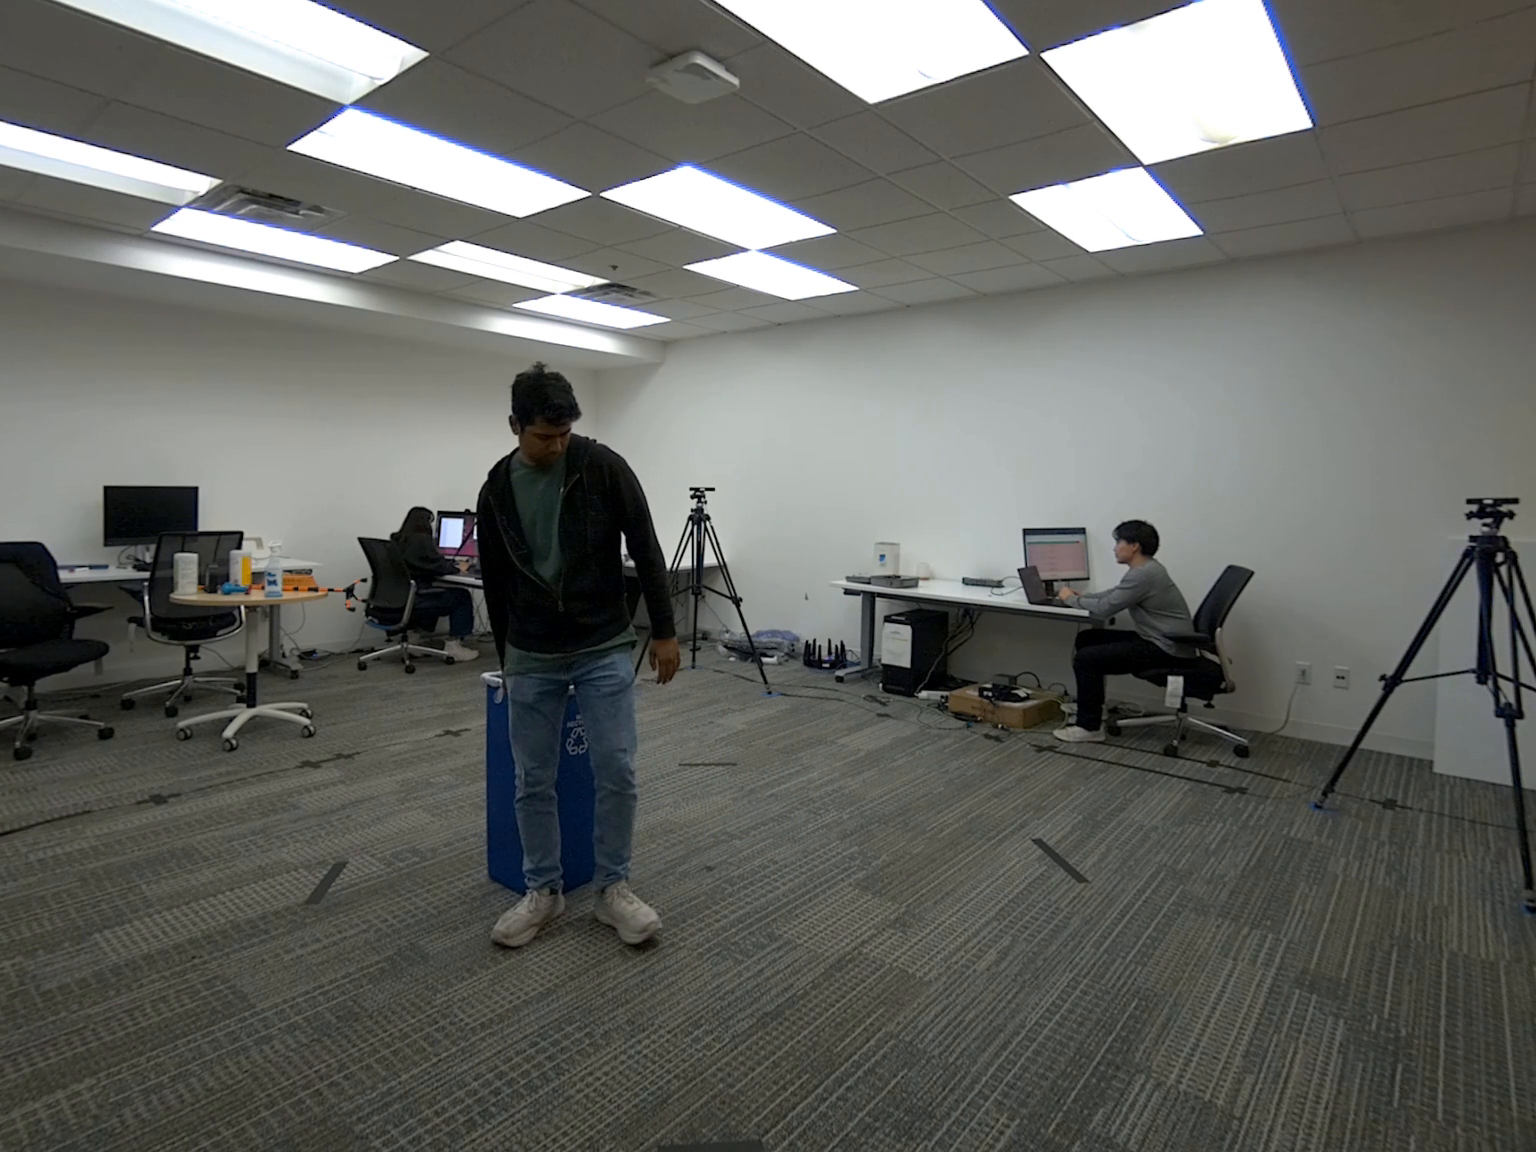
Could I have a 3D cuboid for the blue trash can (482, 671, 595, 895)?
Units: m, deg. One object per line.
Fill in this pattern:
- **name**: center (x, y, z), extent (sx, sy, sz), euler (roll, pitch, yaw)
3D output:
- **blue trash can**: center (-0.777, 0.704, 3.015), extent (0.386, 0.713, 0.366), euler (3, 2, 37)
